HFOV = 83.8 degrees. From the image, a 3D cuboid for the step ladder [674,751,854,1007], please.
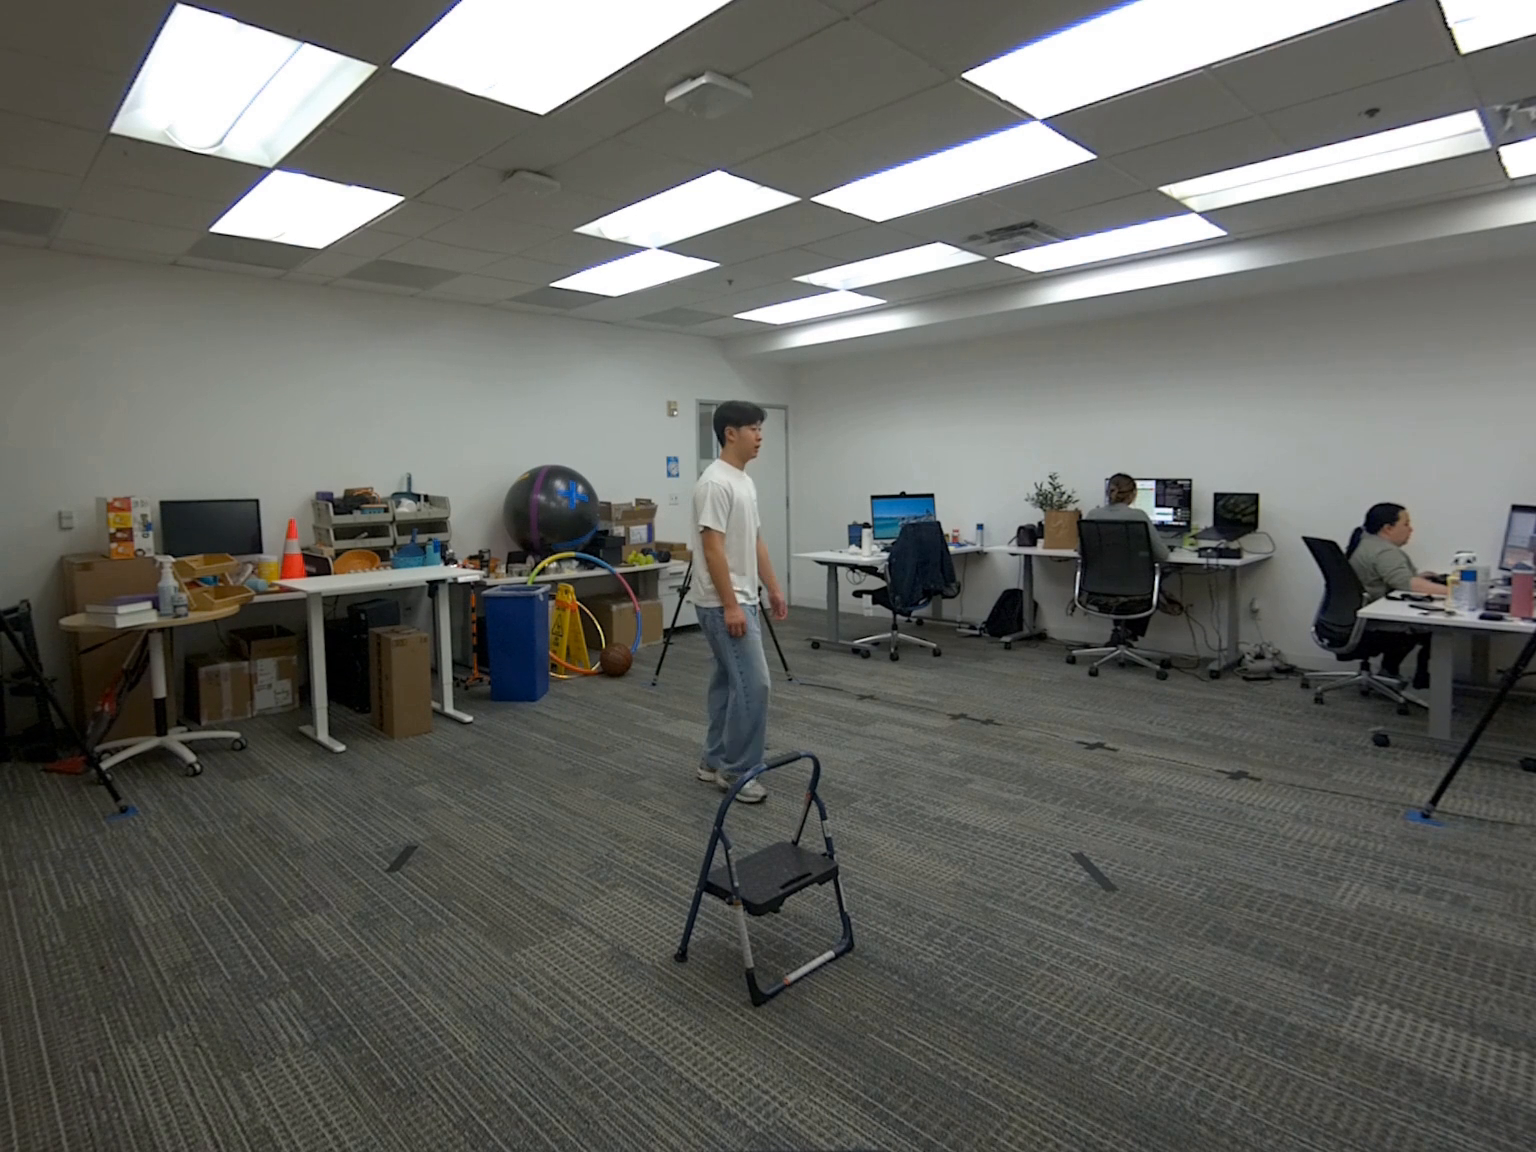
[{"bbox_3d":[-0.013,0.815,2.500,0.360,0.604,0.419,3,6,45],"label":"step ladder"}]
